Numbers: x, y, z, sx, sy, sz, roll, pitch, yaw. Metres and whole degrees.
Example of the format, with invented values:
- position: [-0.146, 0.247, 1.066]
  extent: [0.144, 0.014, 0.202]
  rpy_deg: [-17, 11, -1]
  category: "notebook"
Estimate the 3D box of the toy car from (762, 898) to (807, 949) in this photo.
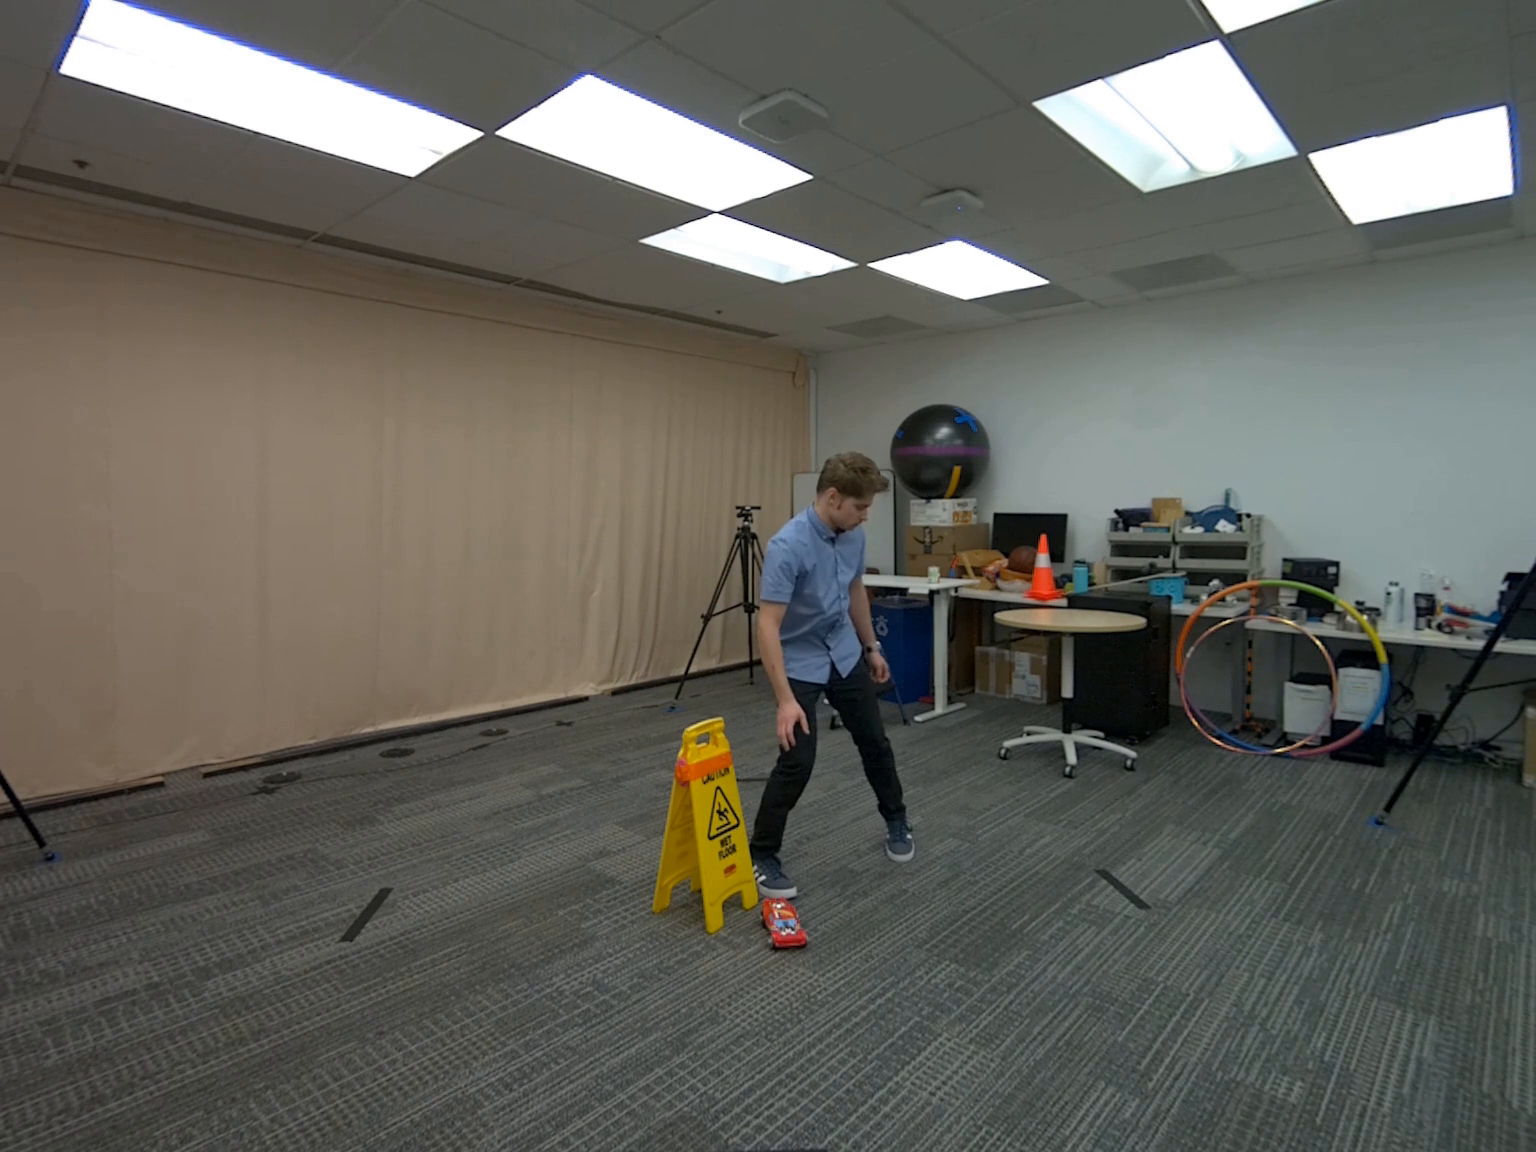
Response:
- position: [0.044, 1.126, 2.744]
  extent: [0.129, 0.082, 0.258]
  rpy_deg: [0, 15, -7]
  category: "toy car"
